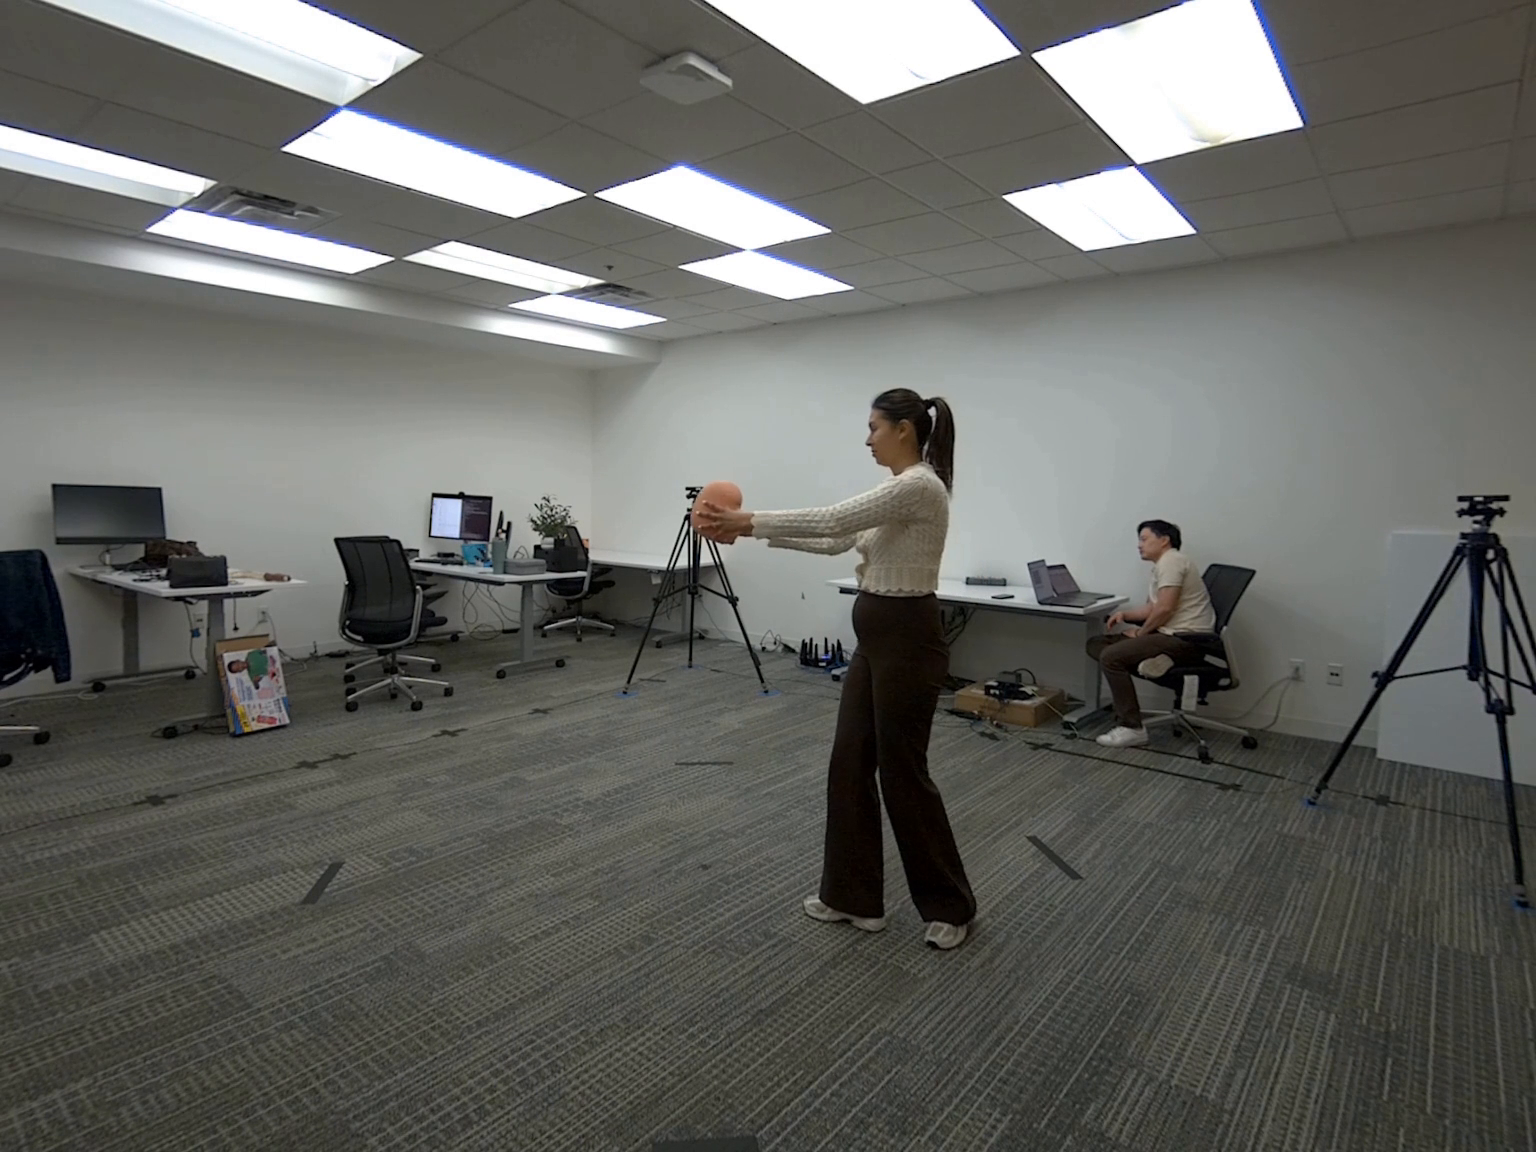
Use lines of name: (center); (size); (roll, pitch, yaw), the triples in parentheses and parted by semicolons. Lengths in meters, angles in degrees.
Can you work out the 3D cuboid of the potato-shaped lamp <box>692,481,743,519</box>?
potato-shaped lamp: (-0.167, -0.223, 2.773); (0.175, 0.198, 0.162); (-2, 2, 19)
